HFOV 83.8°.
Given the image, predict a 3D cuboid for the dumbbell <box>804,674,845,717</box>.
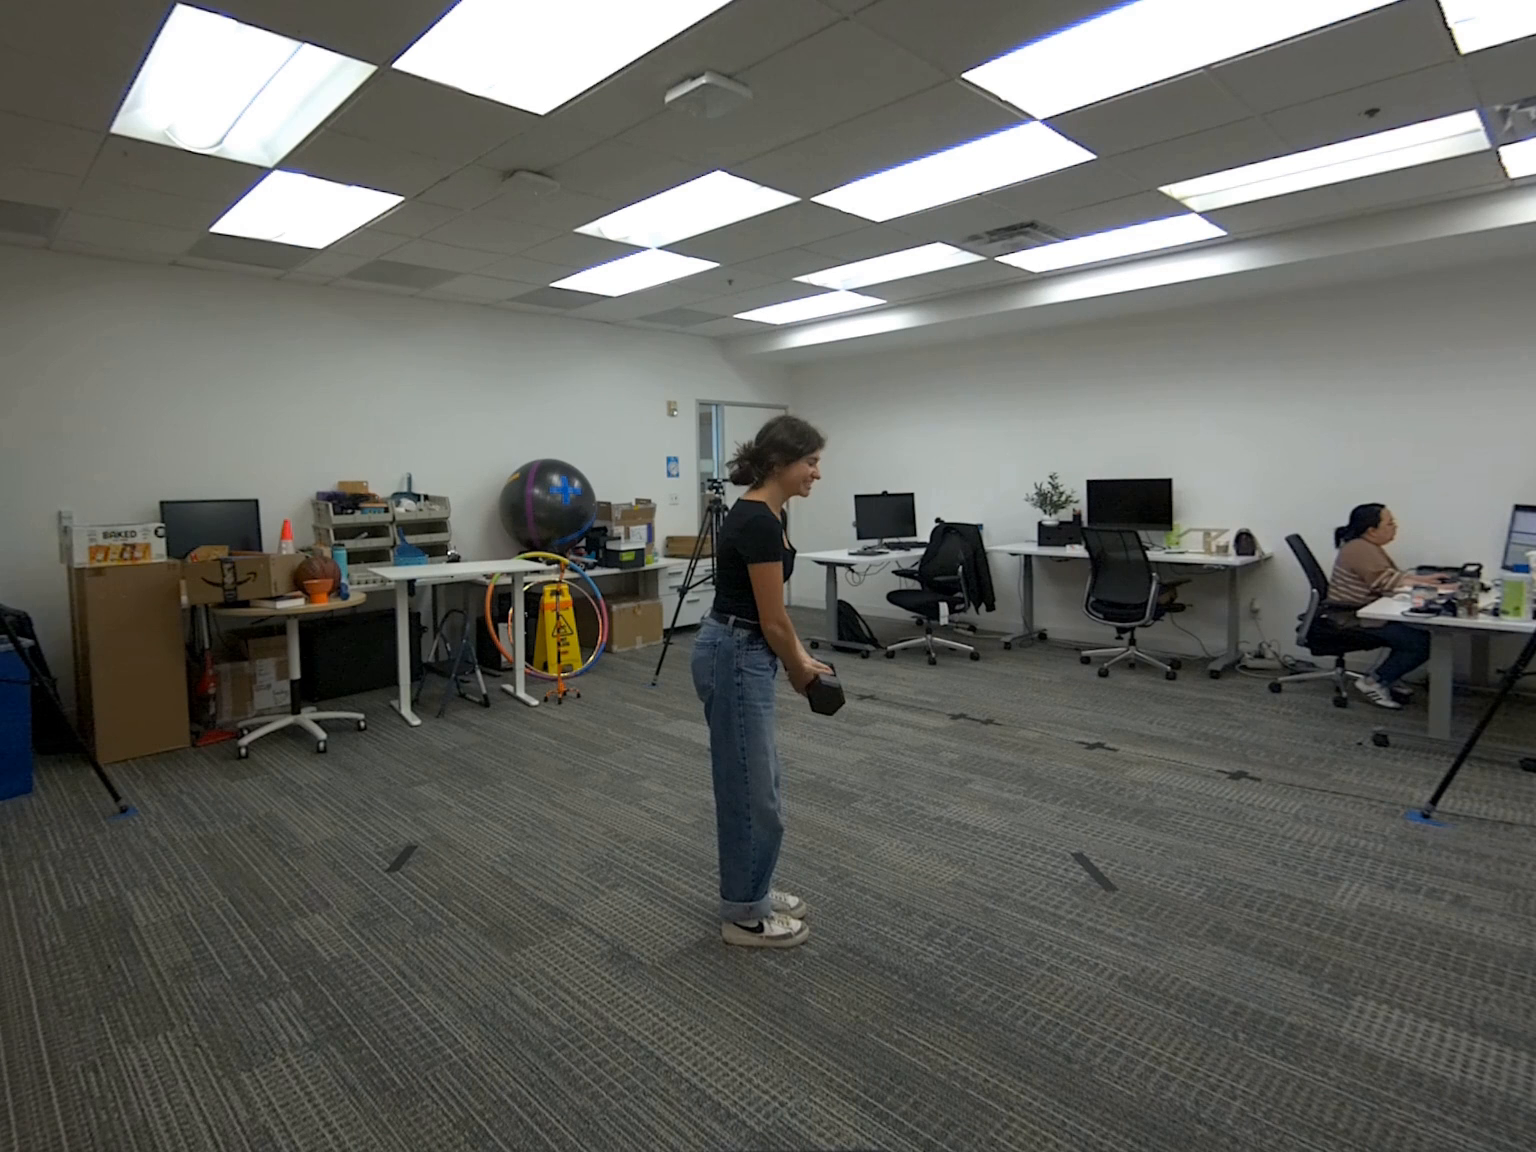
[{"bbox_3d":[0.170,0.335,2.688,0.109,0.122,0.296,-17,9,0],"label":"dumbbell"}]
